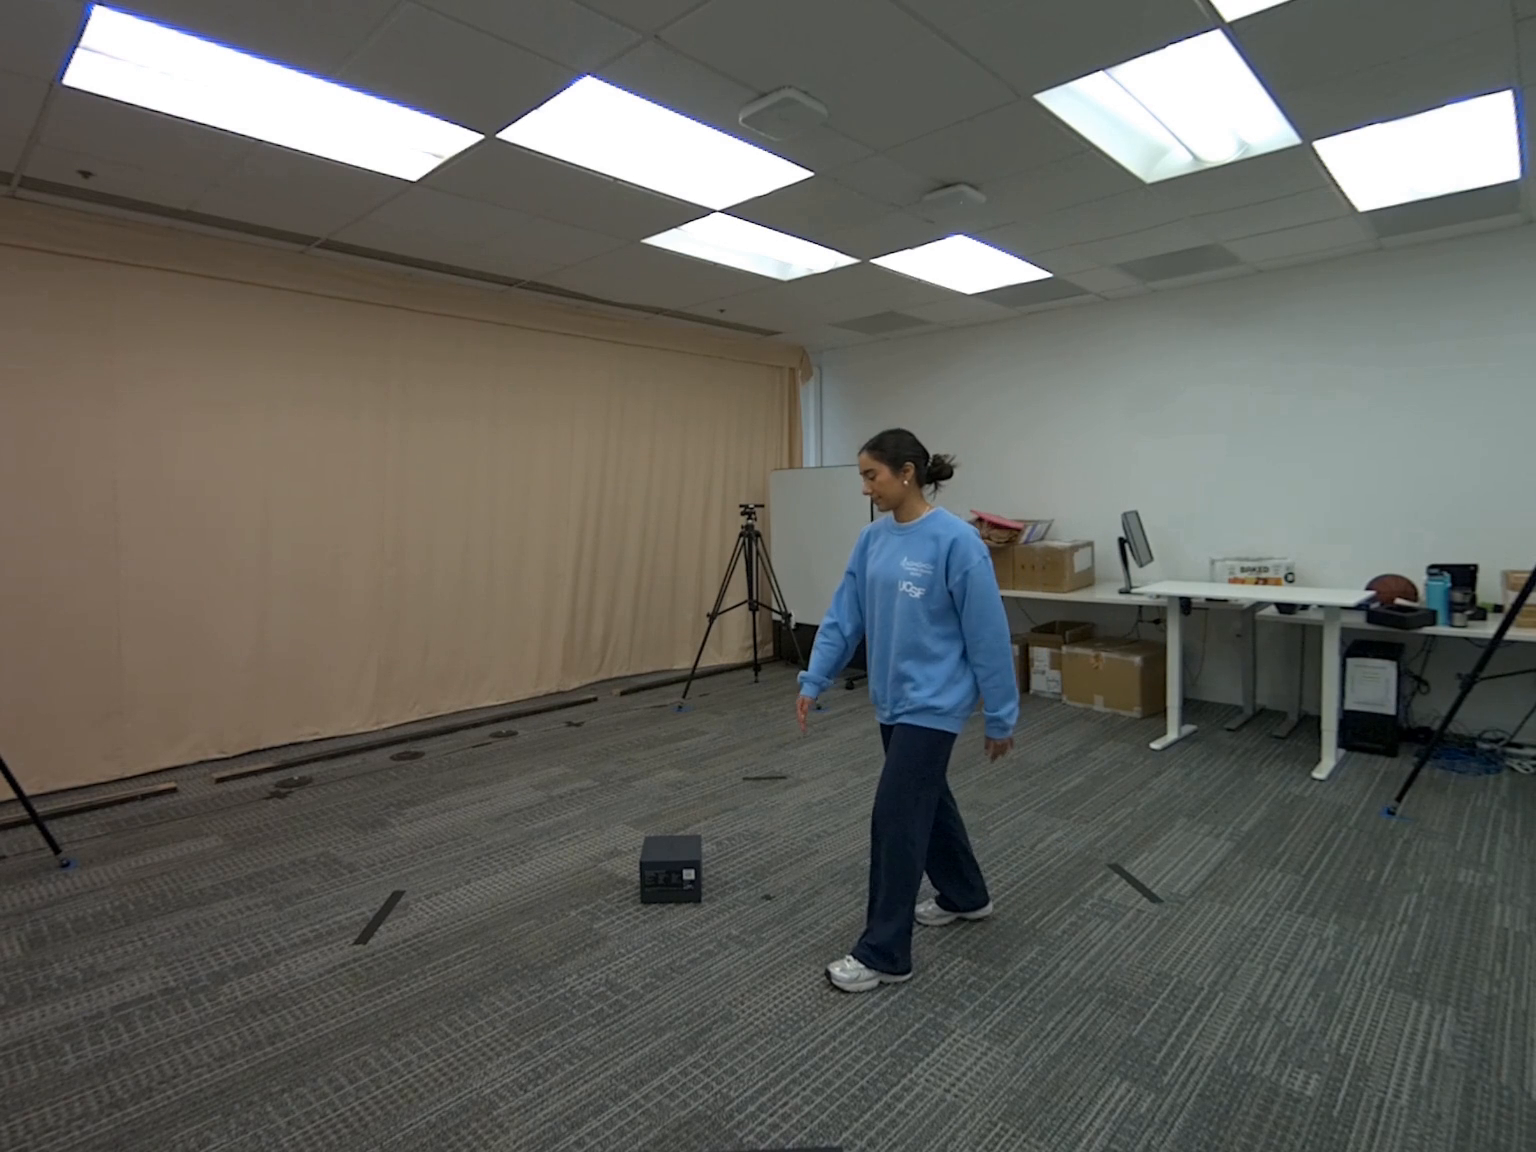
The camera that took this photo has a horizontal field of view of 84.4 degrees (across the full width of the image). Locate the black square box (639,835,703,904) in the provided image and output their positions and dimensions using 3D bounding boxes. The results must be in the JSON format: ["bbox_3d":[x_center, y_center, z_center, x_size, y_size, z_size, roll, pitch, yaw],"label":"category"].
[{"bbox_3d":[-0.349,1.054,3.057,0.217,0.155,0.229,-2,4,-2],"label":"black square box"}]
